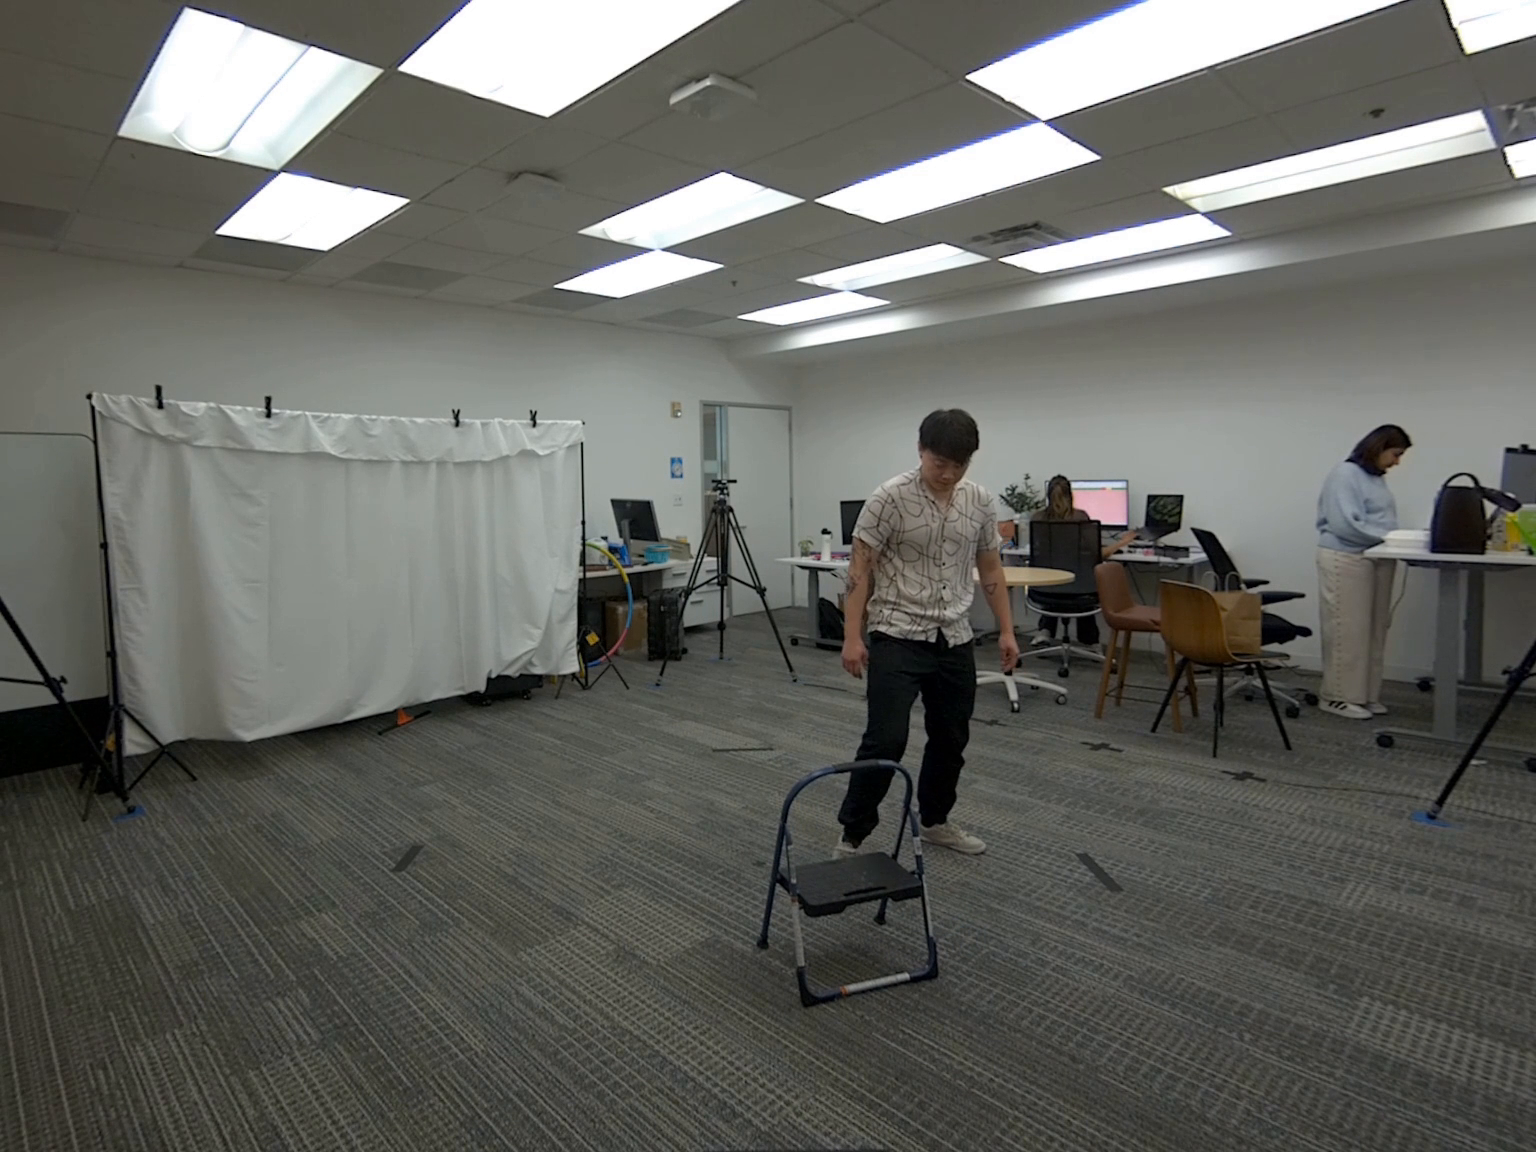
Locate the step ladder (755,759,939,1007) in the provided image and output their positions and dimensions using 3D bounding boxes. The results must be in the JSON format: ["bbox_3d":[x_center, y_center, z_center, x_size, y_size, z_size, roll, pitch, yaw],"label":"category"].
[{"bbox_3d":[0.222,0.816,2.460,0.423,0.603,0.357,-3,5,-21],"label":"step ladder"}]
